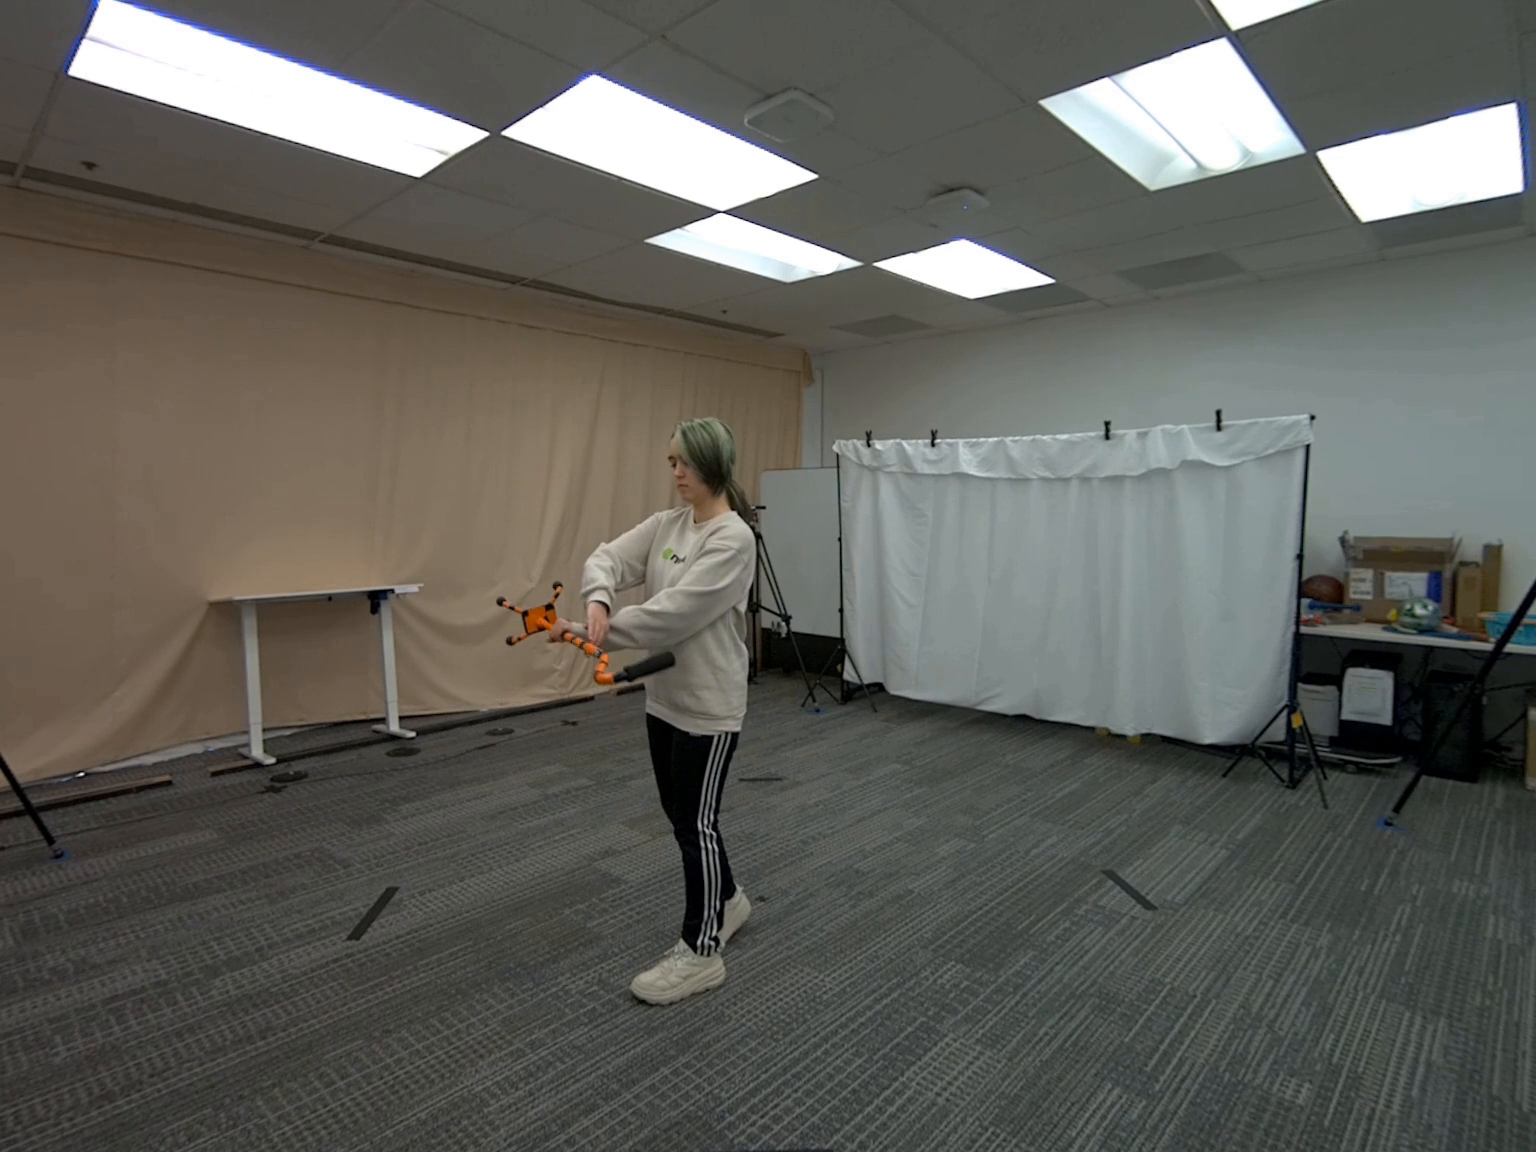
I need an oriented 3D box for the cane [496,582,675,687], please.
[{"bbox_3d":[-0.494,0.155,2.156,0.202,0.150,0.933,-17,12,-26],"label":"cane"}]
